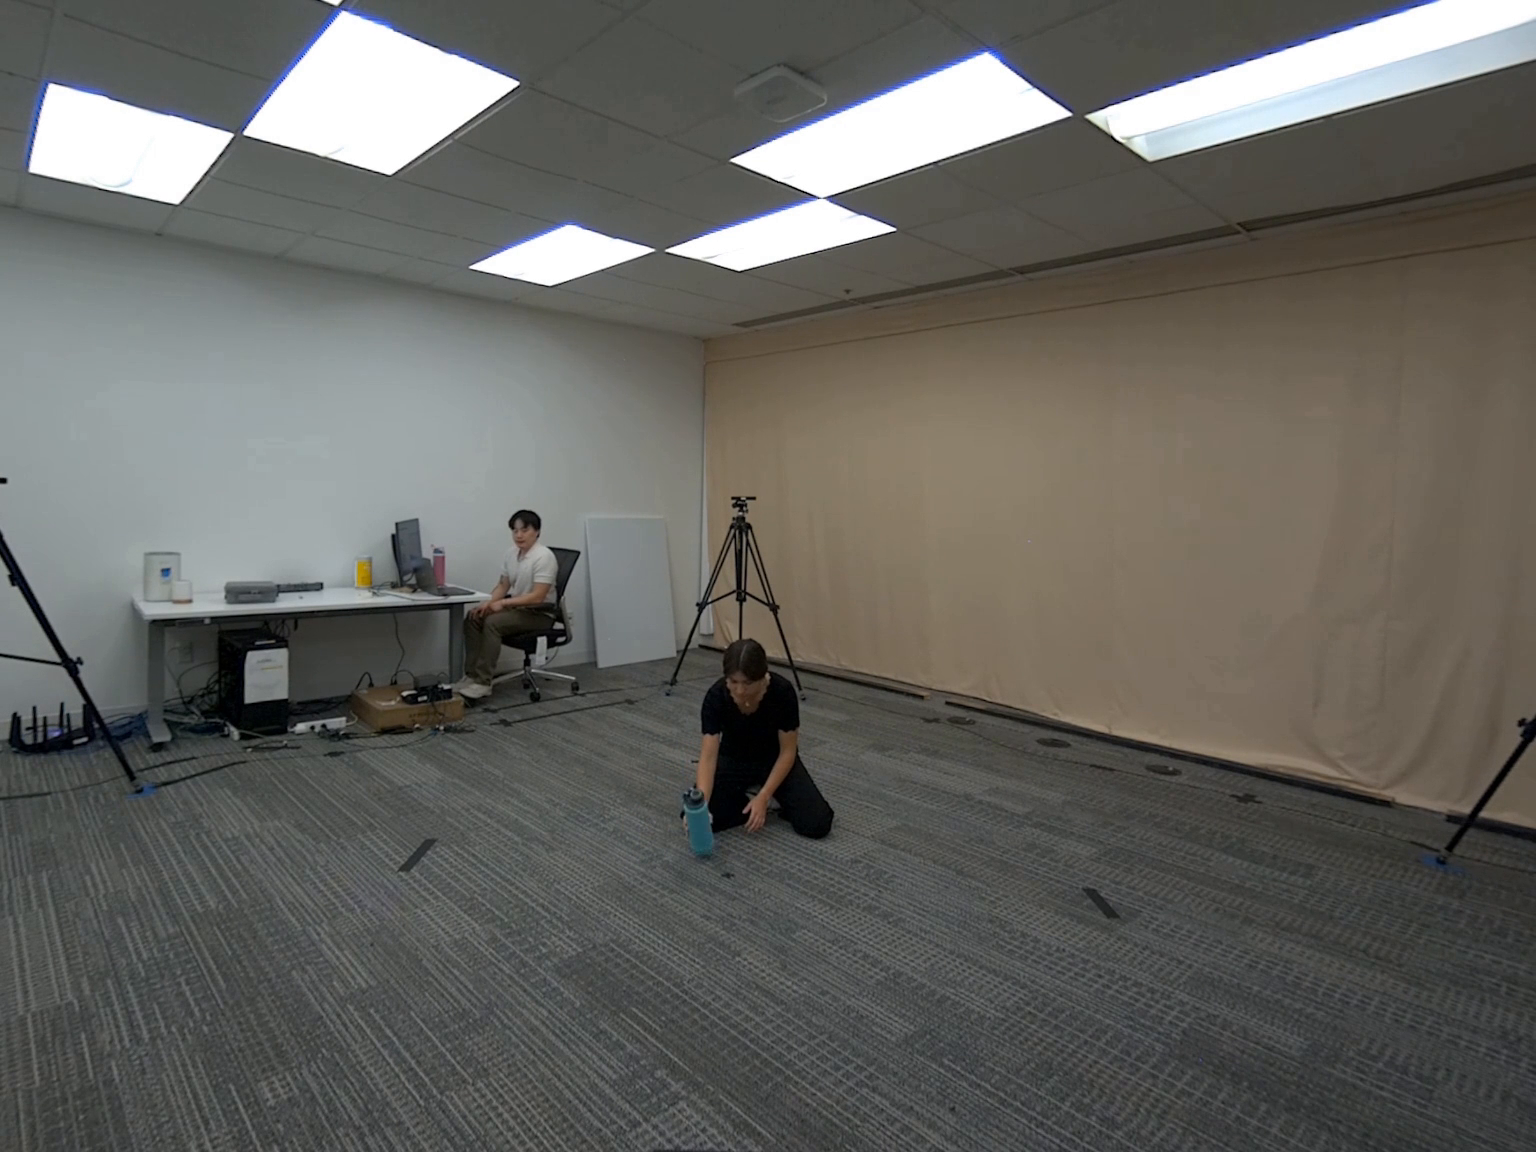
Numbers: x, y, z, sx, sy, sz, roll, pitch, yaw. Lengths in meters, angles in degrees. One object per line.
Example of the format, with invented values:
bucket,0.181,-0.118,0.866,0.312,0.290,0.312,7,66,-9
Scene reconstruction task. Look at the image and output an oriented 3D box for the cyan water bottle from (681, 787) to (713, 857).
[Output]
cyan water bottle,-0.280,0.943,3.204,0.092,0.278,0.094,-6,26,2
